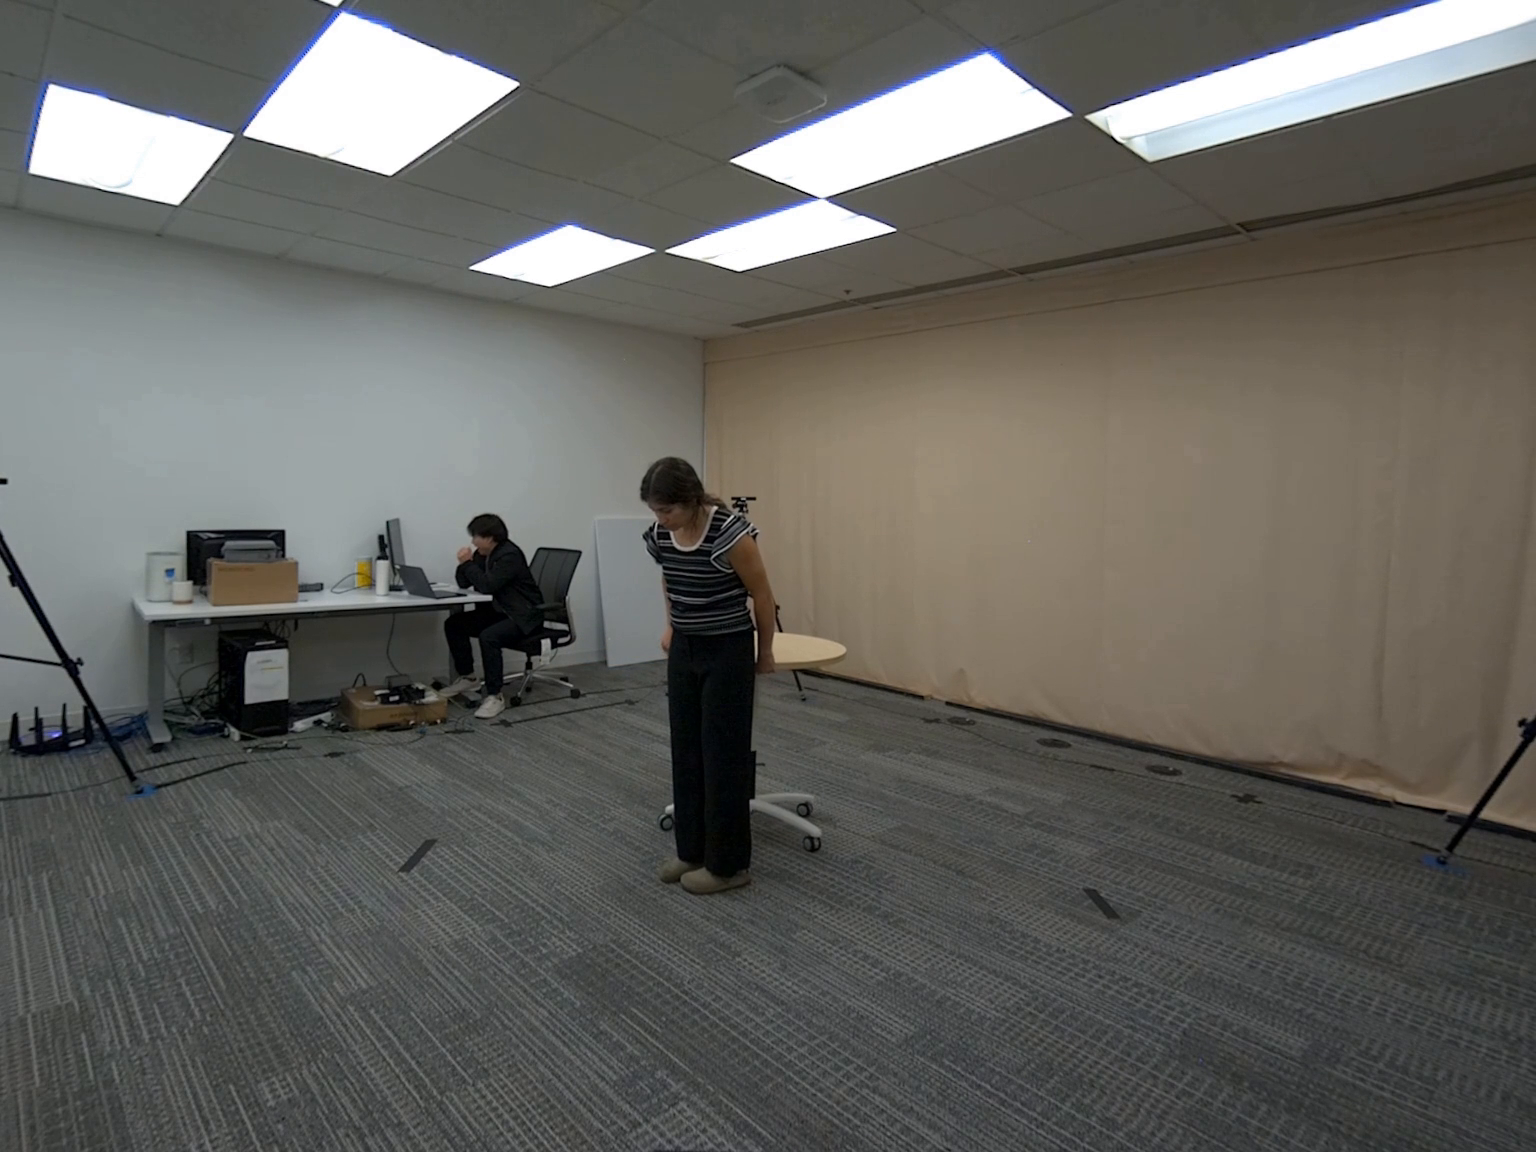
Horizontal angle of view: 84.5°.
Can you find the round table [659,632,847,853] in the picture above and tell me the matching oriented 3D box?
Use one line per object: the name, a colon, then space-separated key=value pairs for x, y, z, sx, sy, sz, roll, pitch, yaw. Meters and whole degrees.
round table: x=-0.085 y=0.681 z=3.510 sx=0.784 sy=0.785 sz=0.787 roll=2 pitch=3 yaw=-1
